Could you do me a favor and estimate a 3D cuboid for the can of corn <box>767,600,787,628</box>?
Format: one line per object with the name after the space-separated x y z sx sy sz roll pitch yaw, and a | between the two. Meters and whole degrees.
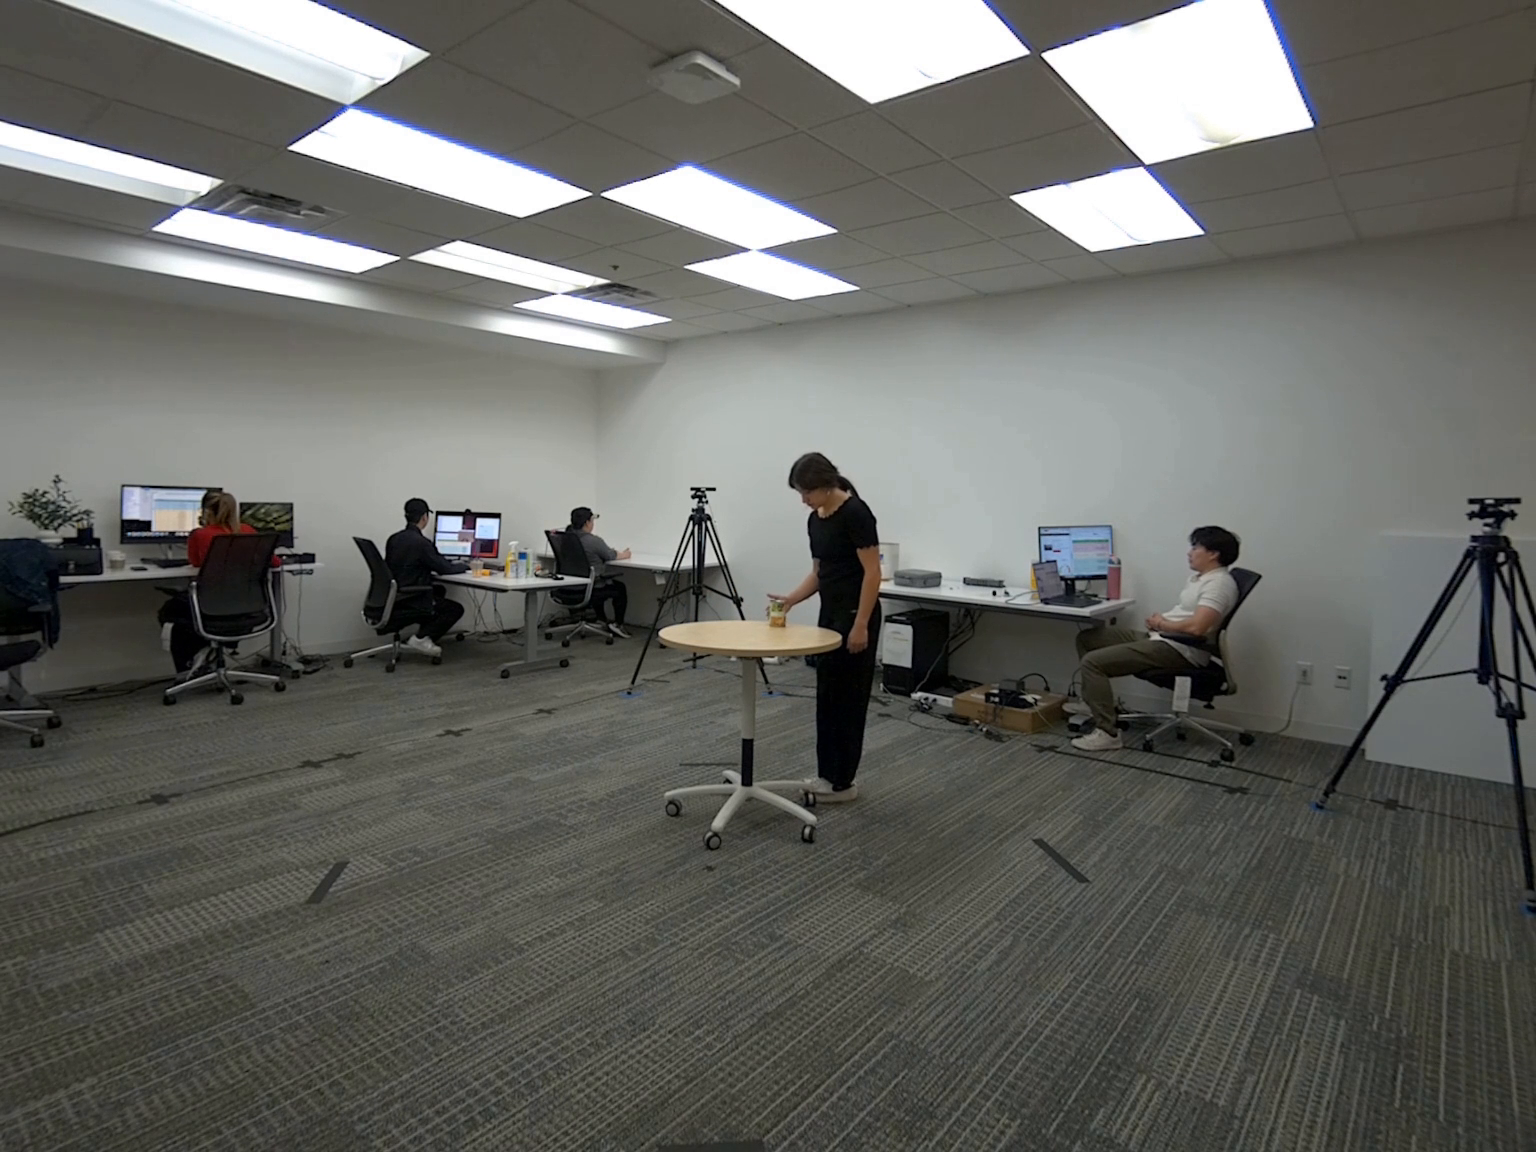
0.036 0.164 3.827 0.074 0.110 0.074 1 4 -2 | can of corn
